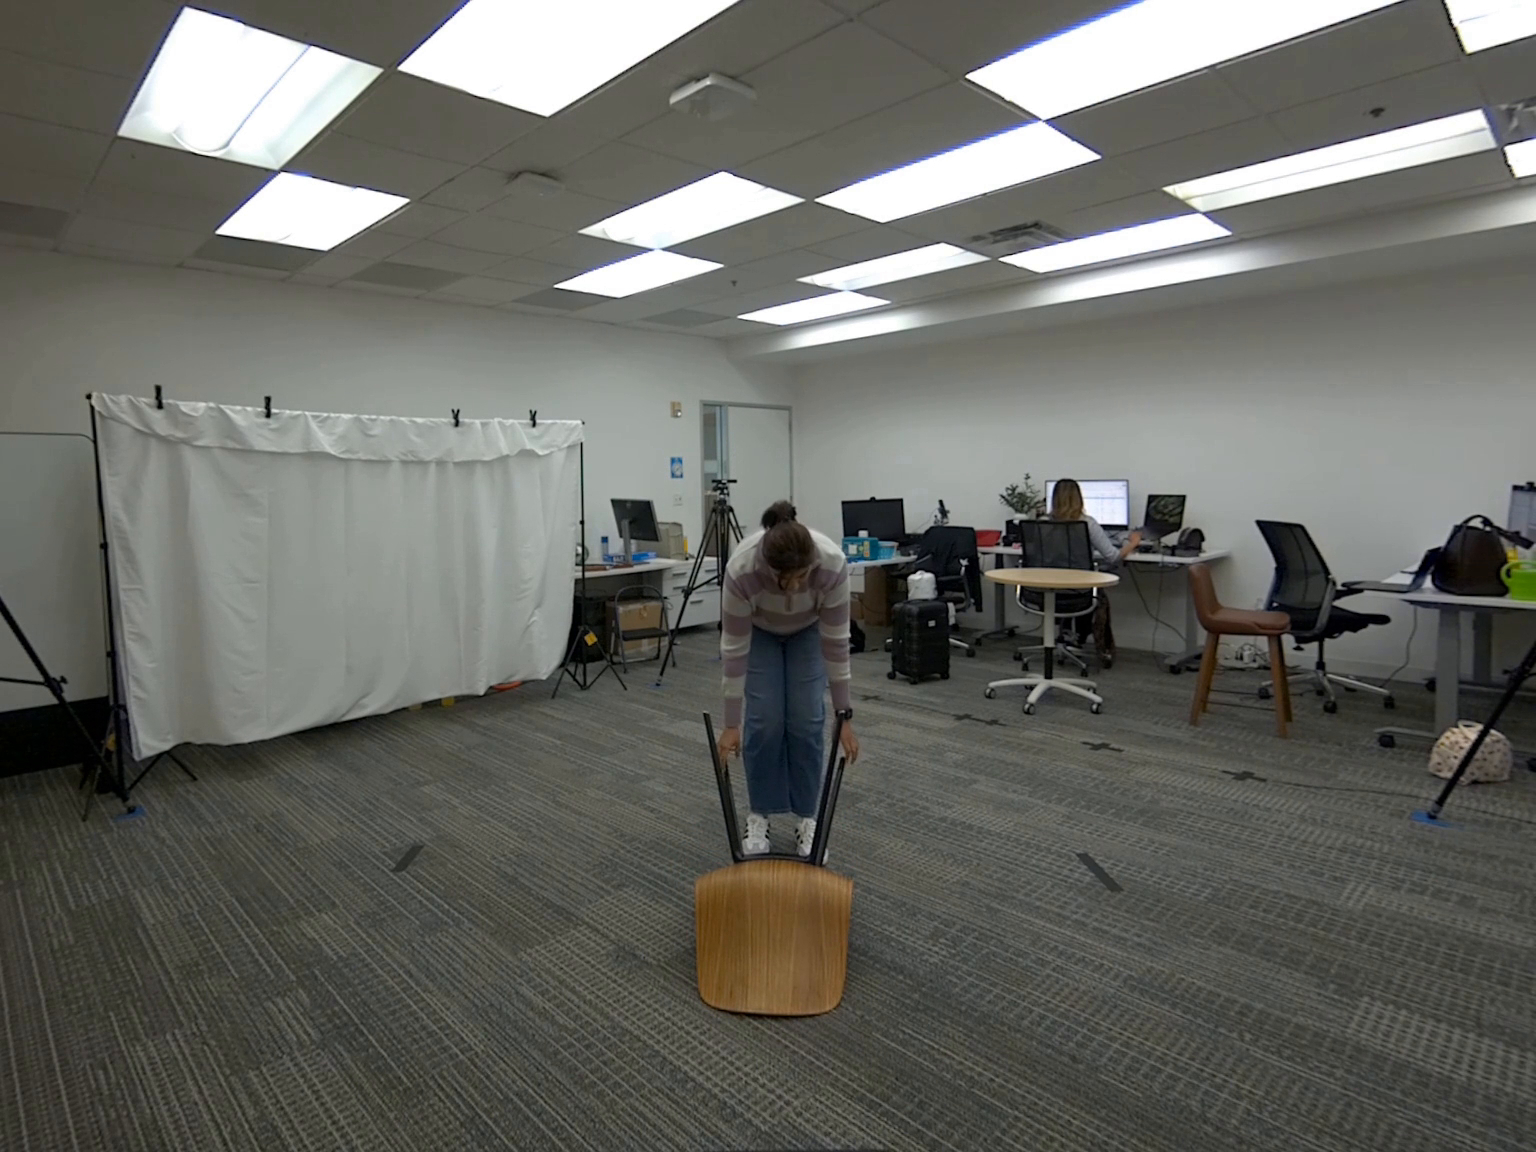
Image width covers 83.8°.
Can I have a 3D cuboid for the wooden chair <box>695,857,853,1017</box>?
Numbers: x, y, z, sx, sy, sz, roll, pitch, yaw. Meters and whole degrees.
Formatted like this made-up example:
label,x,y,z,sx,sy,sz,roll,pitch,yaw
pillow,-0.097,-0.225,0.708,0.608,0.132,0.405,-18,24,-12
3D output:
label,x,y,z,sx,sy,sz,roll,pitch,yaw
wooden chair,0.032,0.926,2.677,0.481,0.898,0.507,-2,-35,6
